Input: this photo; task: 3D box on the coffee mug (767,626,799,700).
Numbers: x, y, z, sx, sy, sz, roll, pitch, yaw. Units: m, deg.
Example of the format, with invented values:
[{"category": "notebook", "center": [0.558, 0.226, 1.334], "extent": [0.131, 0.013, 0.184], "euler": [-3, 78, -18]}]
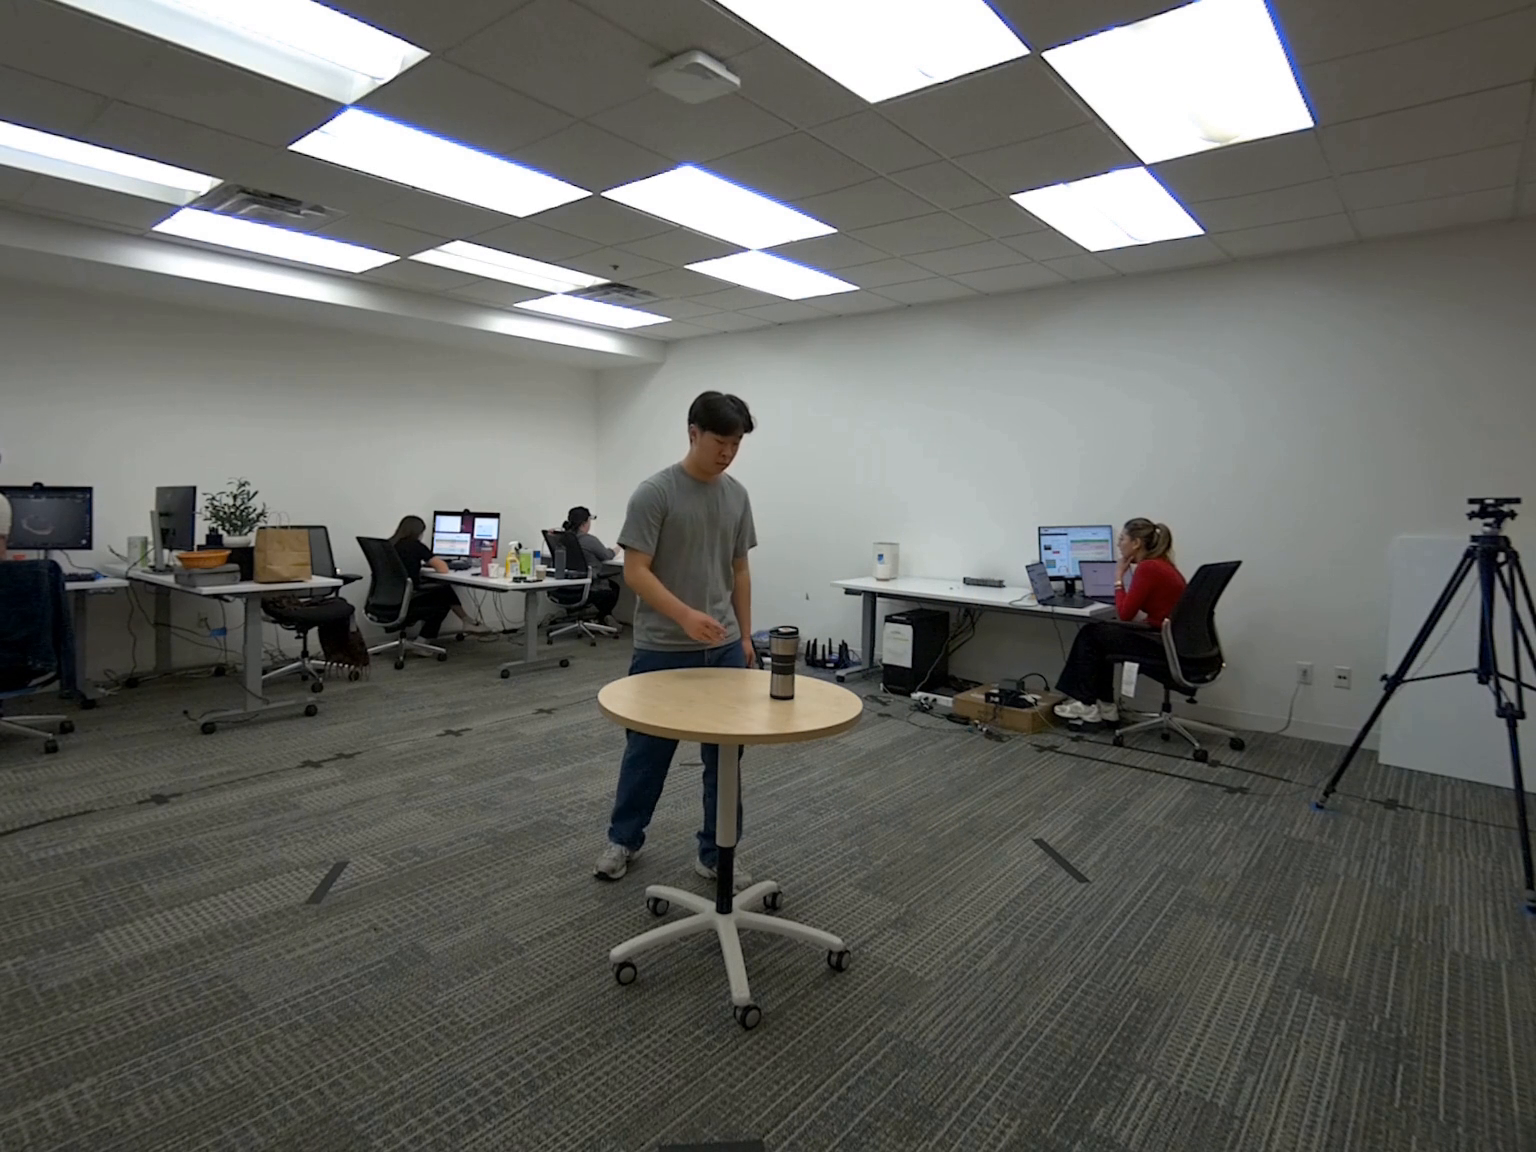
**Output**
[{"category": "coffee mug", "center": [0.050, 0.253, 2.492], "extent": [0.090, 0.202, 0.119], "euler": [0, 5, 34]}]
